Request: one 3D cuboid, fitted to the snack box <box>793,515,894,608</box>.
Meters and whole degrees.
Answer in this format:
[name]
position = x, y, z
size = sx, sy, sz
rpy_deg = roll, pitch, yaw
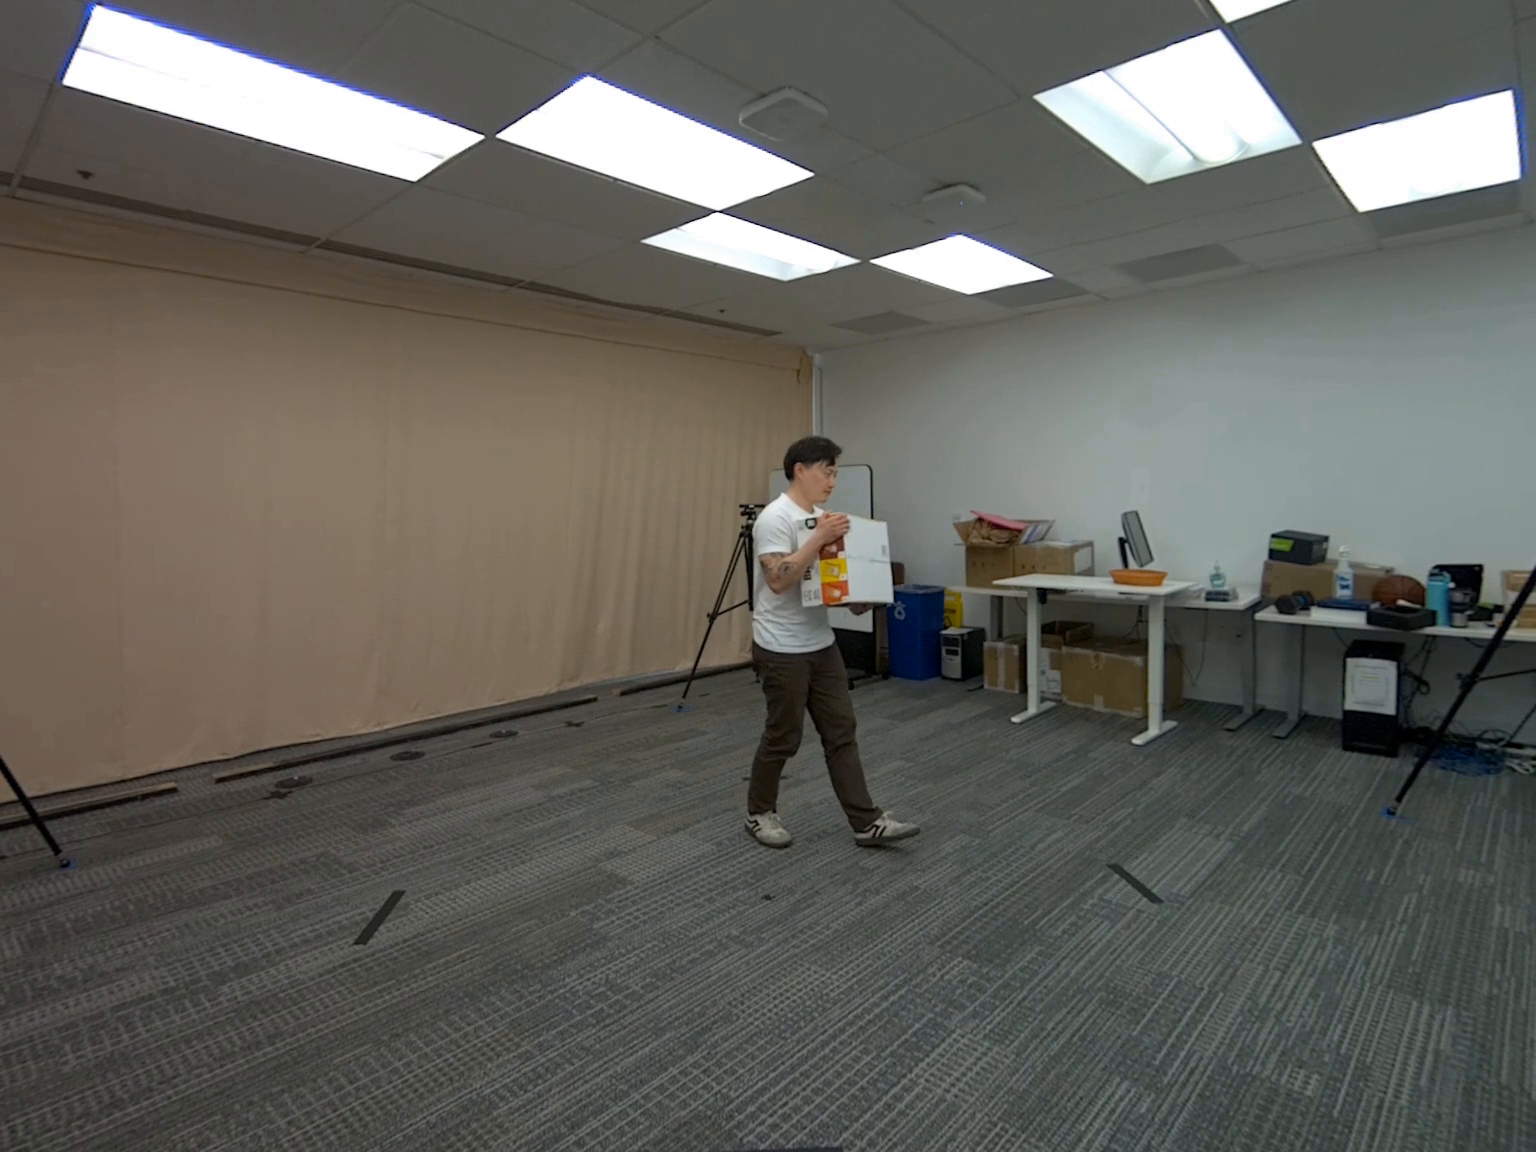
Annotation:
[snack box]
position = 0.320, -0.054, 3.348
size = 0.211, 0.342, 0.392
rpy_deg = -9, -7, 34
